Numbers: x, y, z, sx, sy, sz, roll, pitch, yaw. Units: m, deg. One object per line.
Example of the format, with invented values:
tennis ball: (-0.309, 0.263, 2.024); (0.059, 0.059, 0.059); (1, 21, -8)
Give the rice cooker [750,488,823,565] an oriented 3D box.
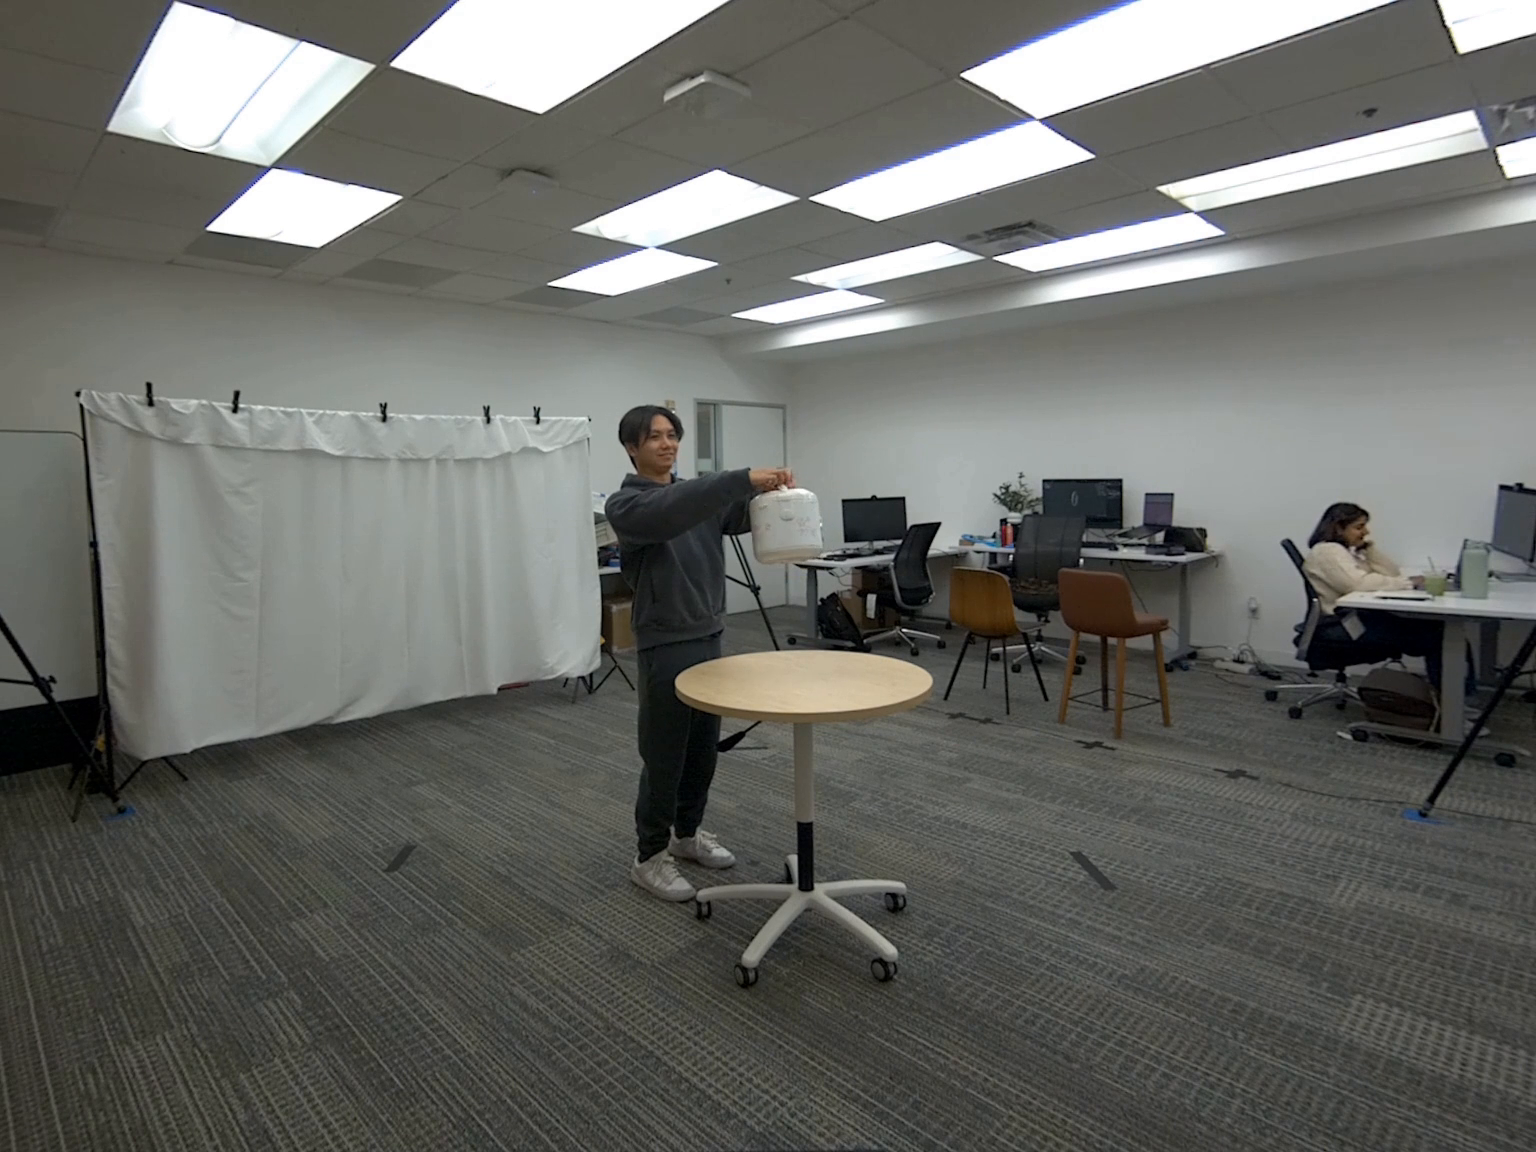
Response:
rice cooker: (0.055, -0.161, 2.611); (0.217, 0.234, 0.219); (-6, -6, 0)
